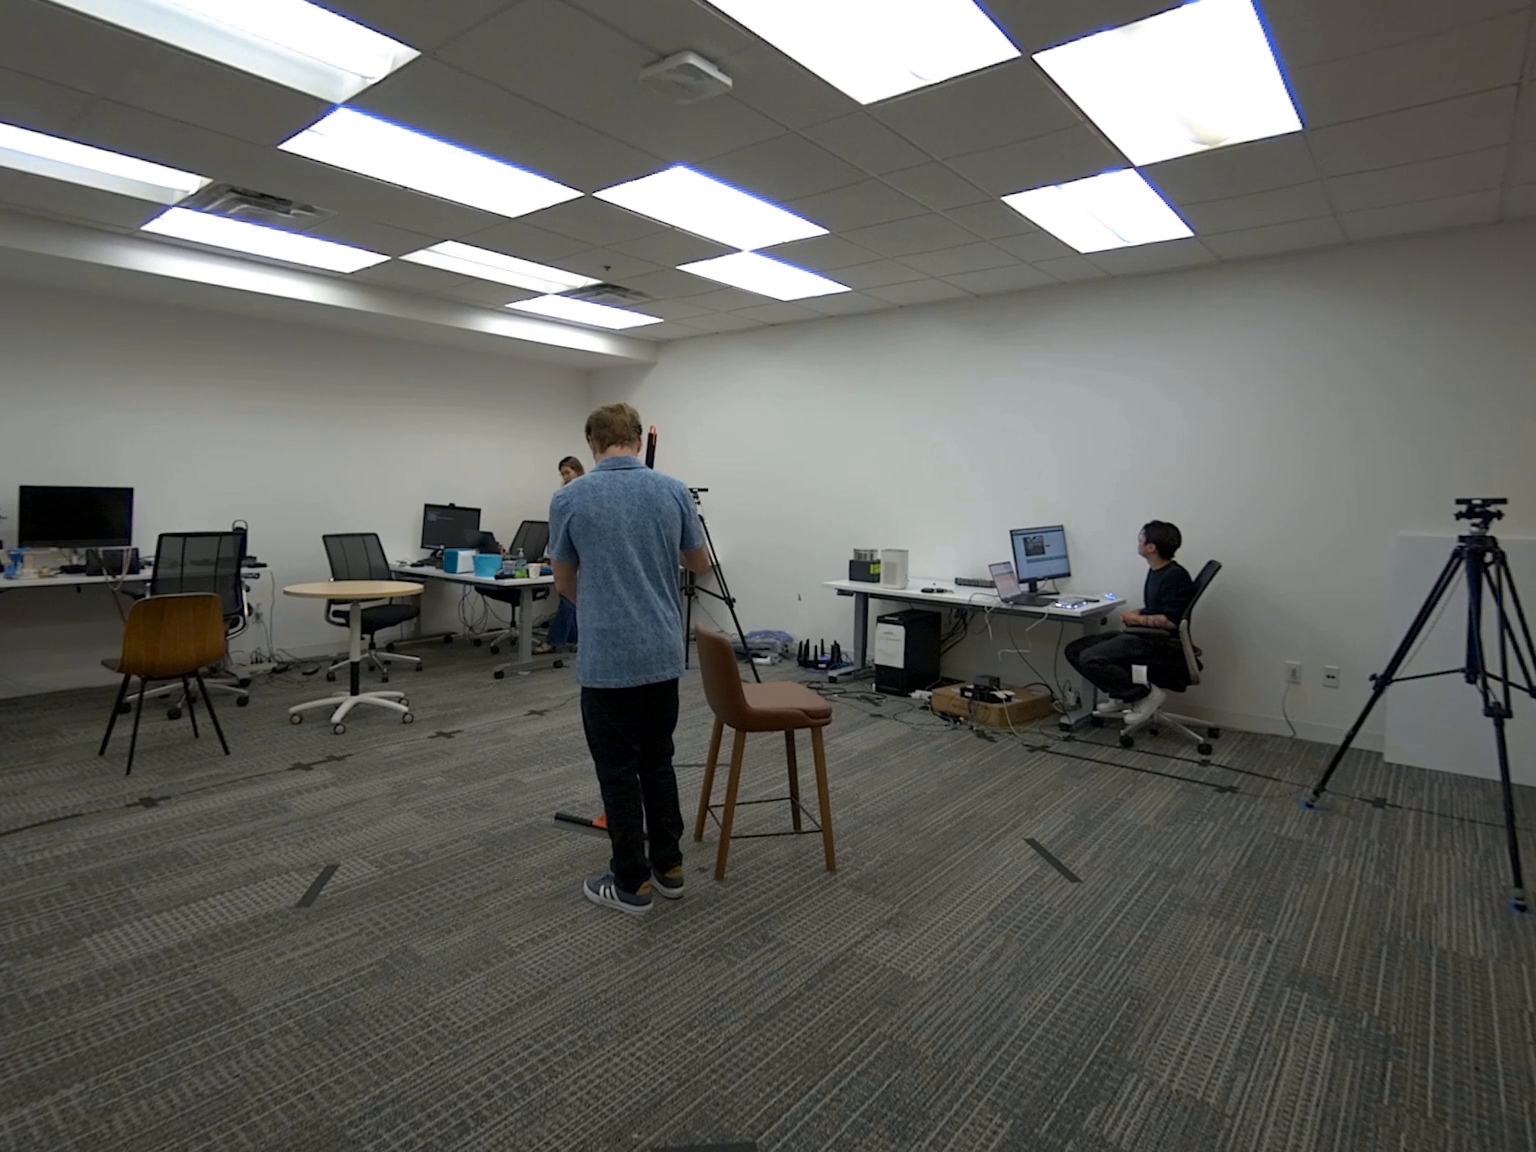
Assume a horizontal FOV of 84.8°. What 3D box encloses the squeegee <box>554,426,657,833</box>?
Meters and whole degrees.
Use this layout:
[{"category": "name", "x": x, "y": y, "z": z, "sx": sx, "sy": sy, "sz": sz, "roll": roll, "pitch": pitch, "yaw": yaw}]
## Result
[{"category": "squeegee", "x": -0.560, "y": 0.207, "z": 3.144, "sx": 0.443, "sy": 1.531, "sz": 0.052, "roll": 6, "pitch": 5, "yaw": 11}]
